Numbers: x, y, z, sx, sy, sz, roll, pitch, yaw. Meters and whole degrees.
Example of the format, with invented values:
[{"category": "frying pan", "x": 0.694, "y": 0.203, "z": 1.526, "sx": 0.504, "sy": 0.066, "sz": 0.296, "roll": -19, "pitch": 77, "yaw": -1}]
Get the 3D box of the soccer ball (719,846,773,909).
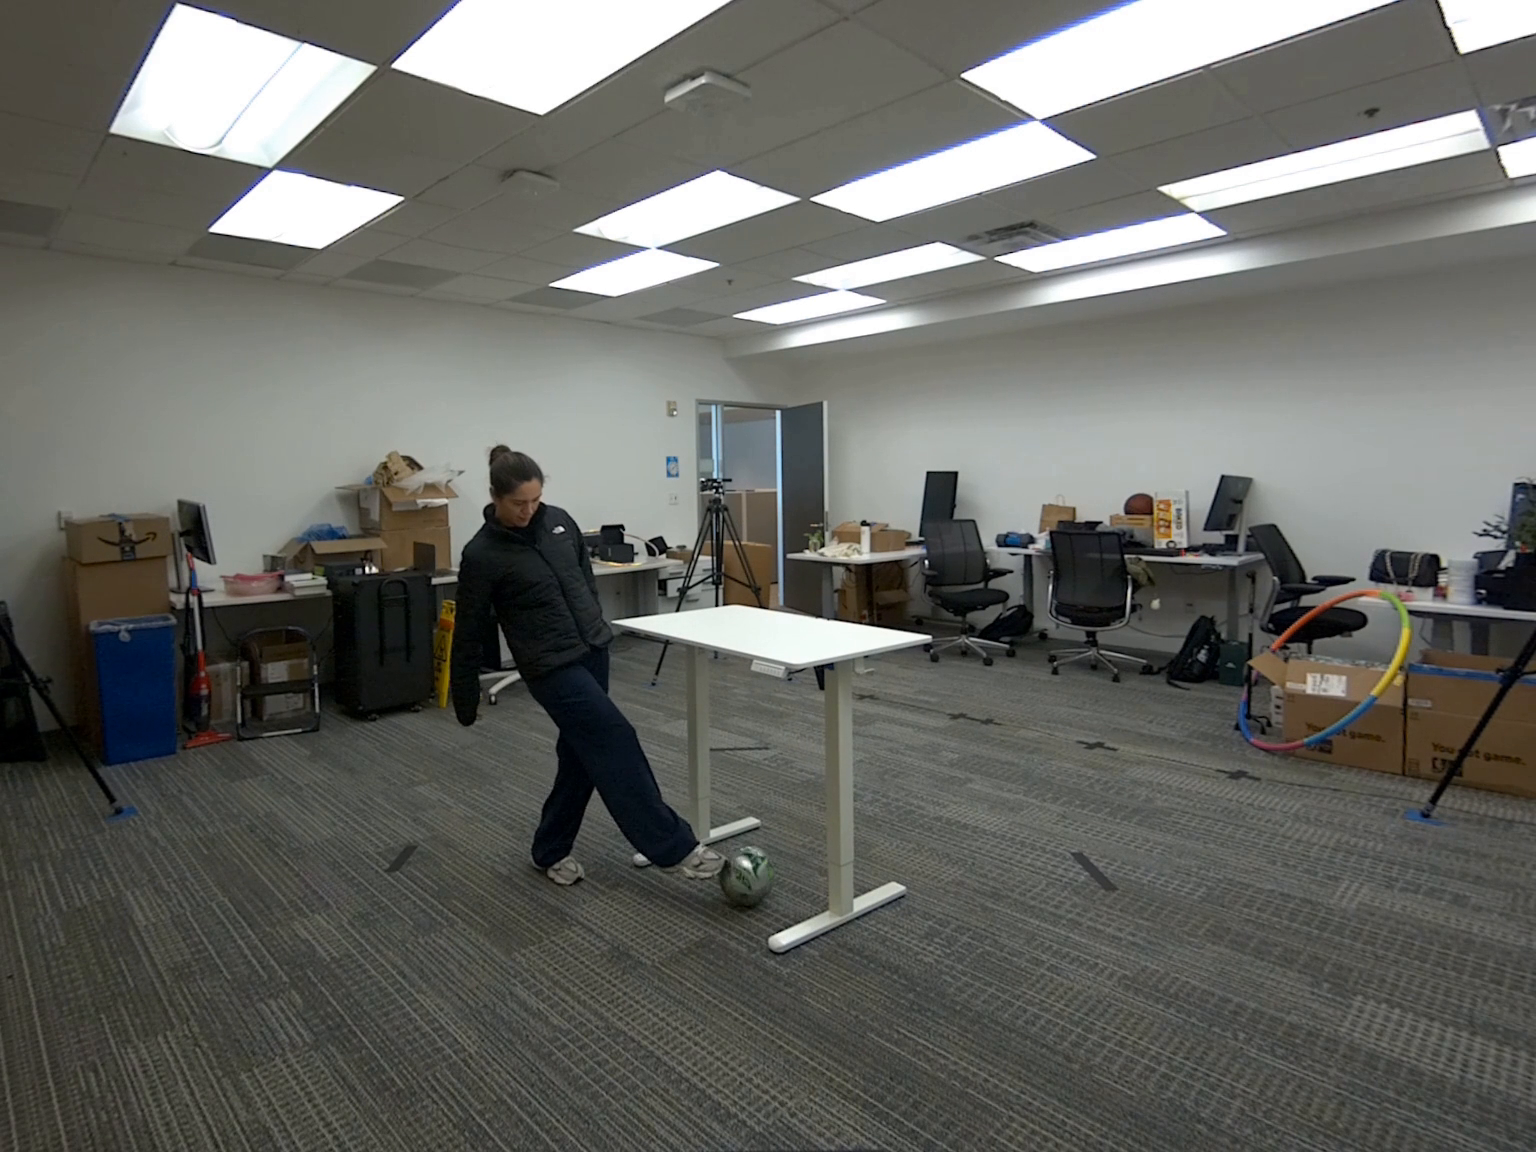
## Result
[{"category": "soccer ball", "x": -0.072, "y": 0.983, "z": 2.808, "sx": 0.187, "sy": 0.187, "sz": 0.188, "roll": -1, "pitch": 5, "yaw": -2}]
